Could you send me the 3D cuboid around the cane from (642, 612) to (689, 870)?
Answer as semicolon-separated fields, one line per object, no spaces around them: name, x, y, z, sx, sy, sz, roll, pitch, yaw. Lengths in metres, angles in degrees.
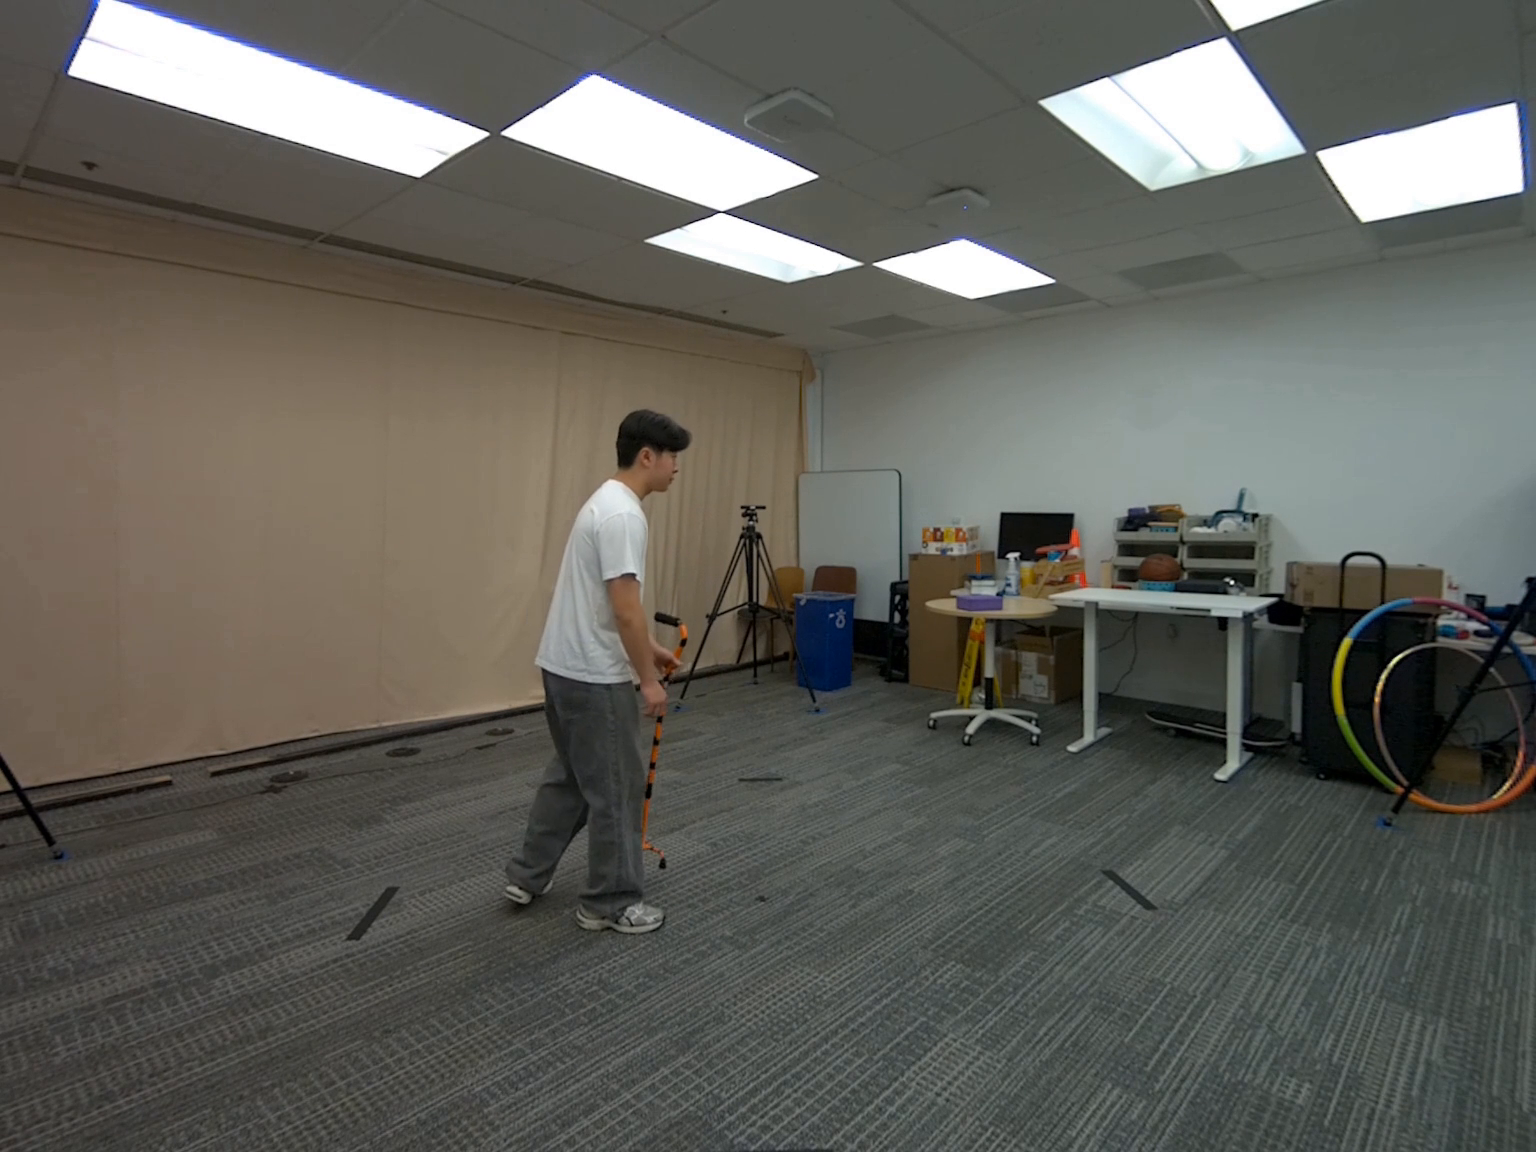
cane;-0.407;0.598;3.066;0.214;0.906;0.146;11;4;40
